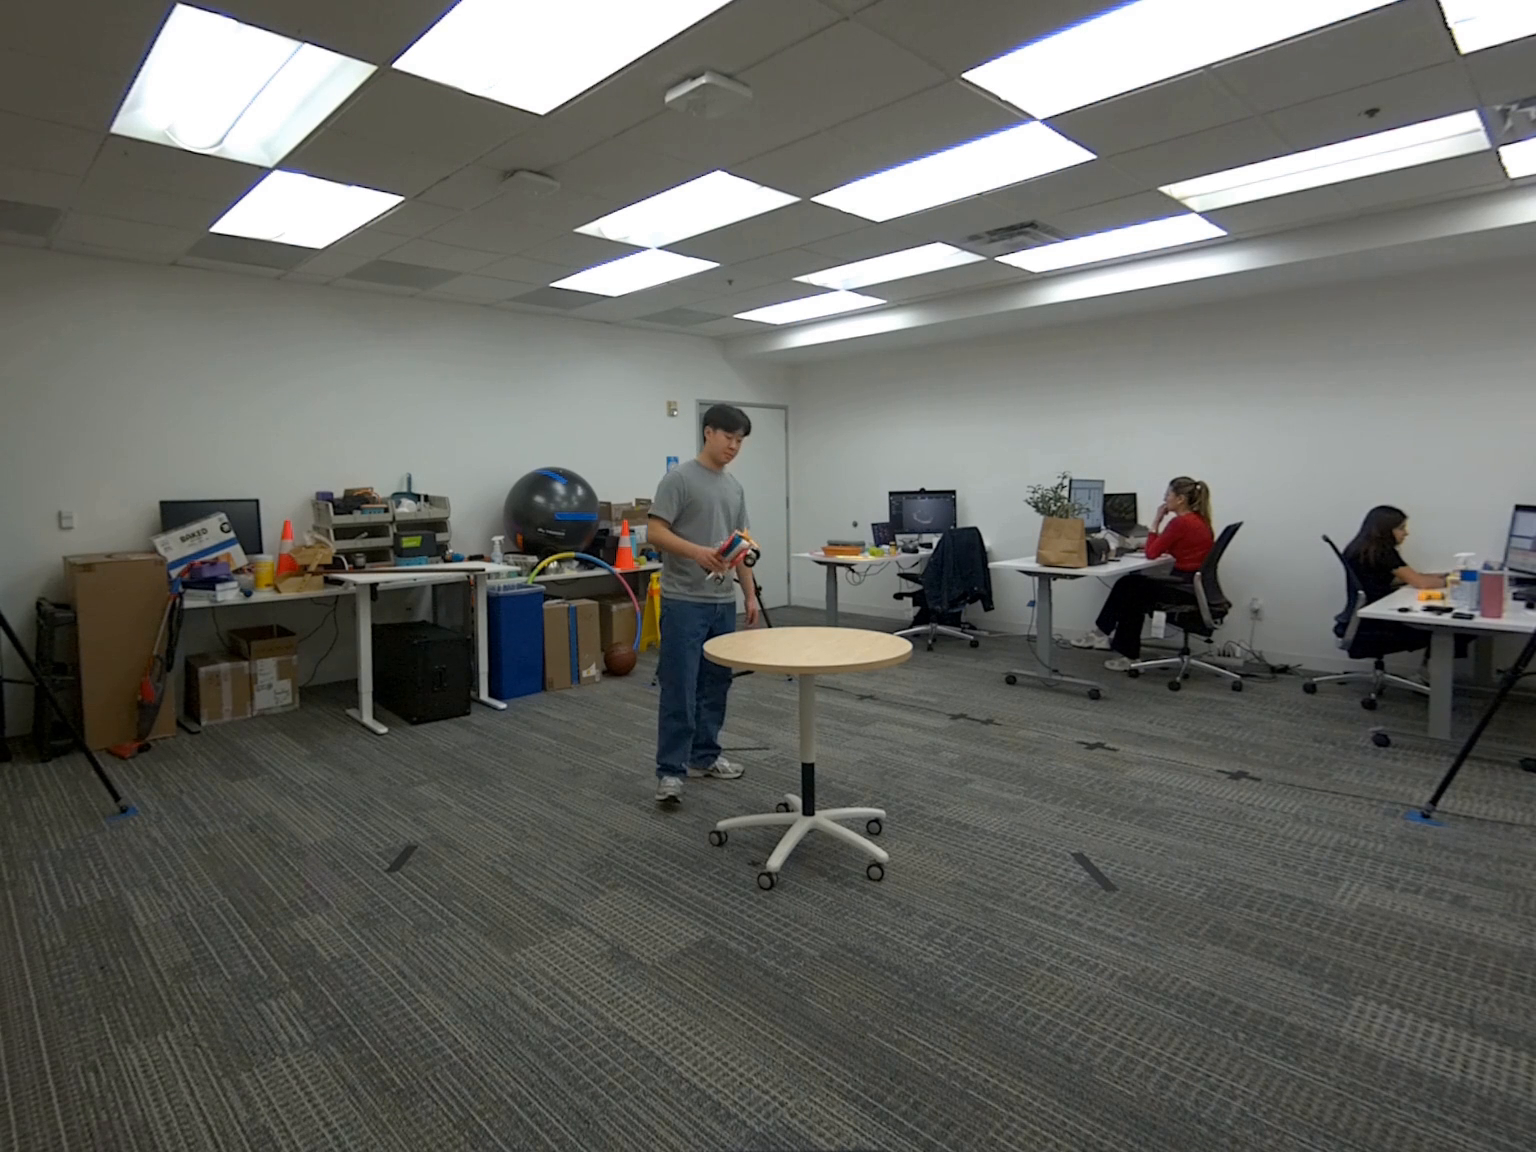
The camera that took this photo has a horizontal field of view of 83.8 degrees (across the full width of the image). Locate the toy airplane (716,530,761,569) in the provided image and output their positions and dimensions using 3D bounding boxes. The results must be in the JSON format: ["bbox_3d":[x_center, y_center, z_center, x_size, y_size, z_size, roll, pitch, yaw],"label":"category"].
[{"bbox_3d":[-0.171,-0.078,3.578,0.259,0.155,0.253,-34,6,-6],"label":"toy airplane"}]
